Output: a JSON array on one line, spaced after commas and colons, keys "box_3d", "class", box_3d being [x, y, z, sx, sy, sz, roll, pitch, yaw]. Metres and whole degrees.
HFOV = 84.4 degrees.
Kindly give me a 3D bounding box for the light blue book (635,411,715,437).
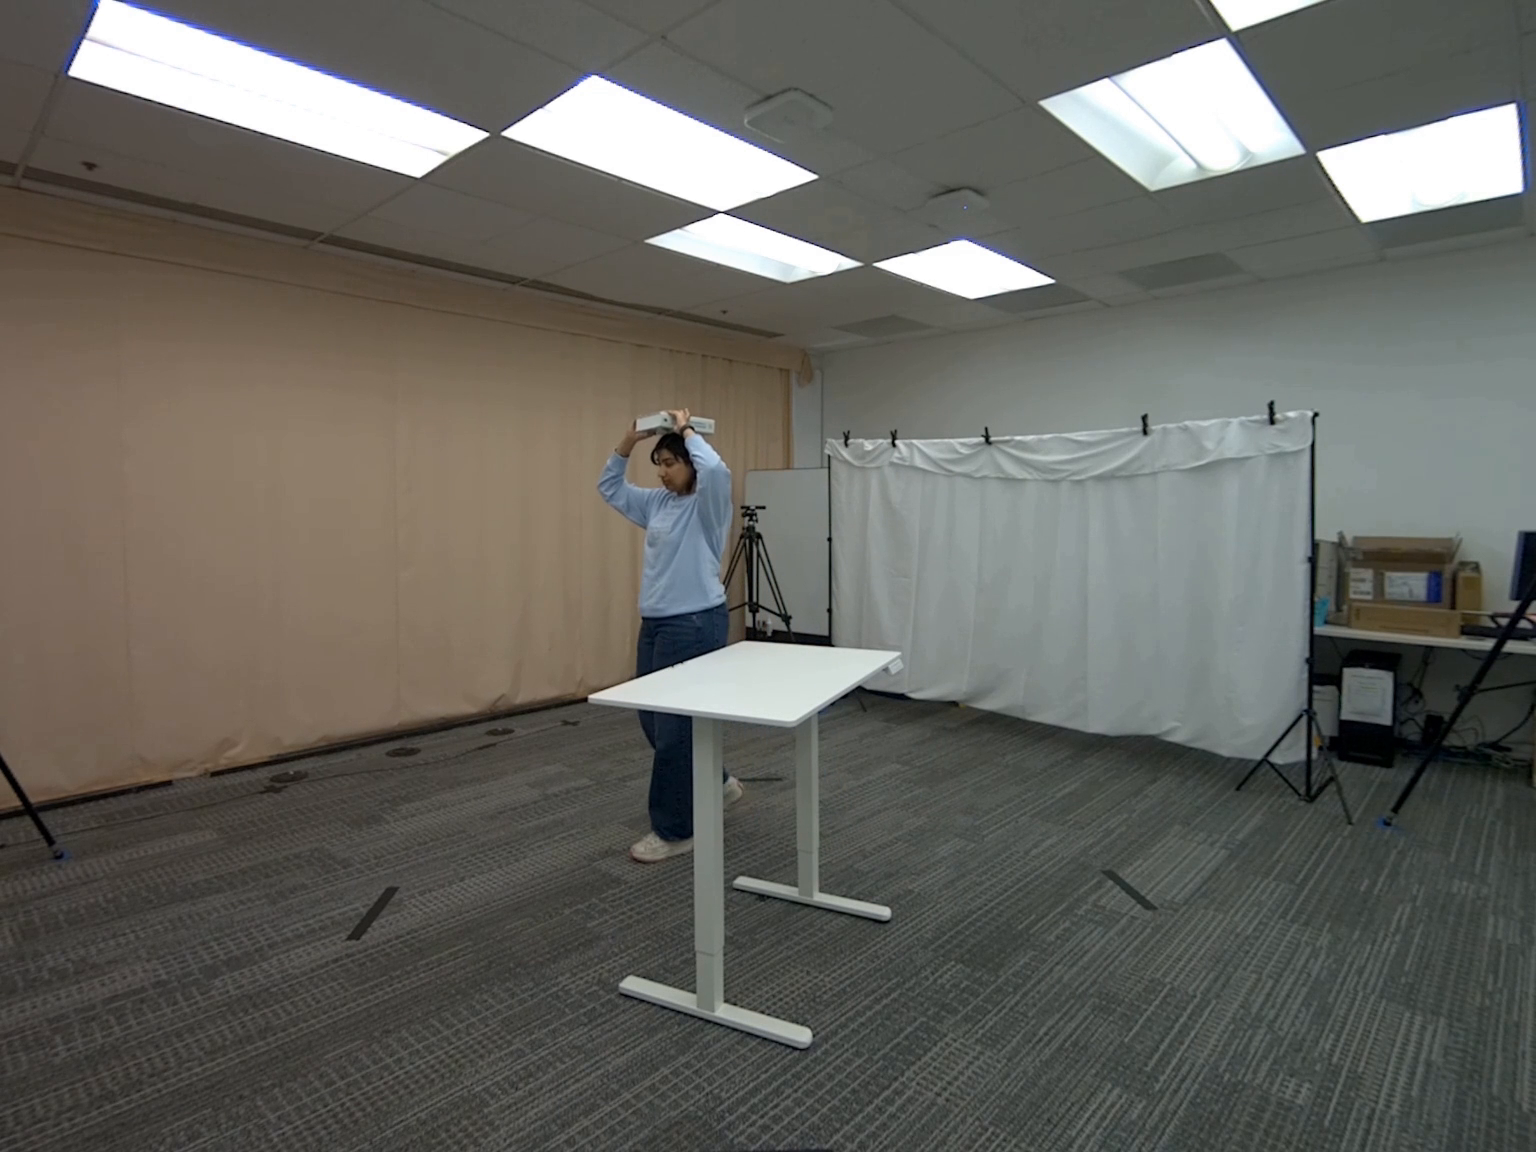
[{"box_3d": [-0.374, -0.603, 3.391, 0.253, 0.059, 0.197, 2, 0, -37], "class": "light blue book"}]
